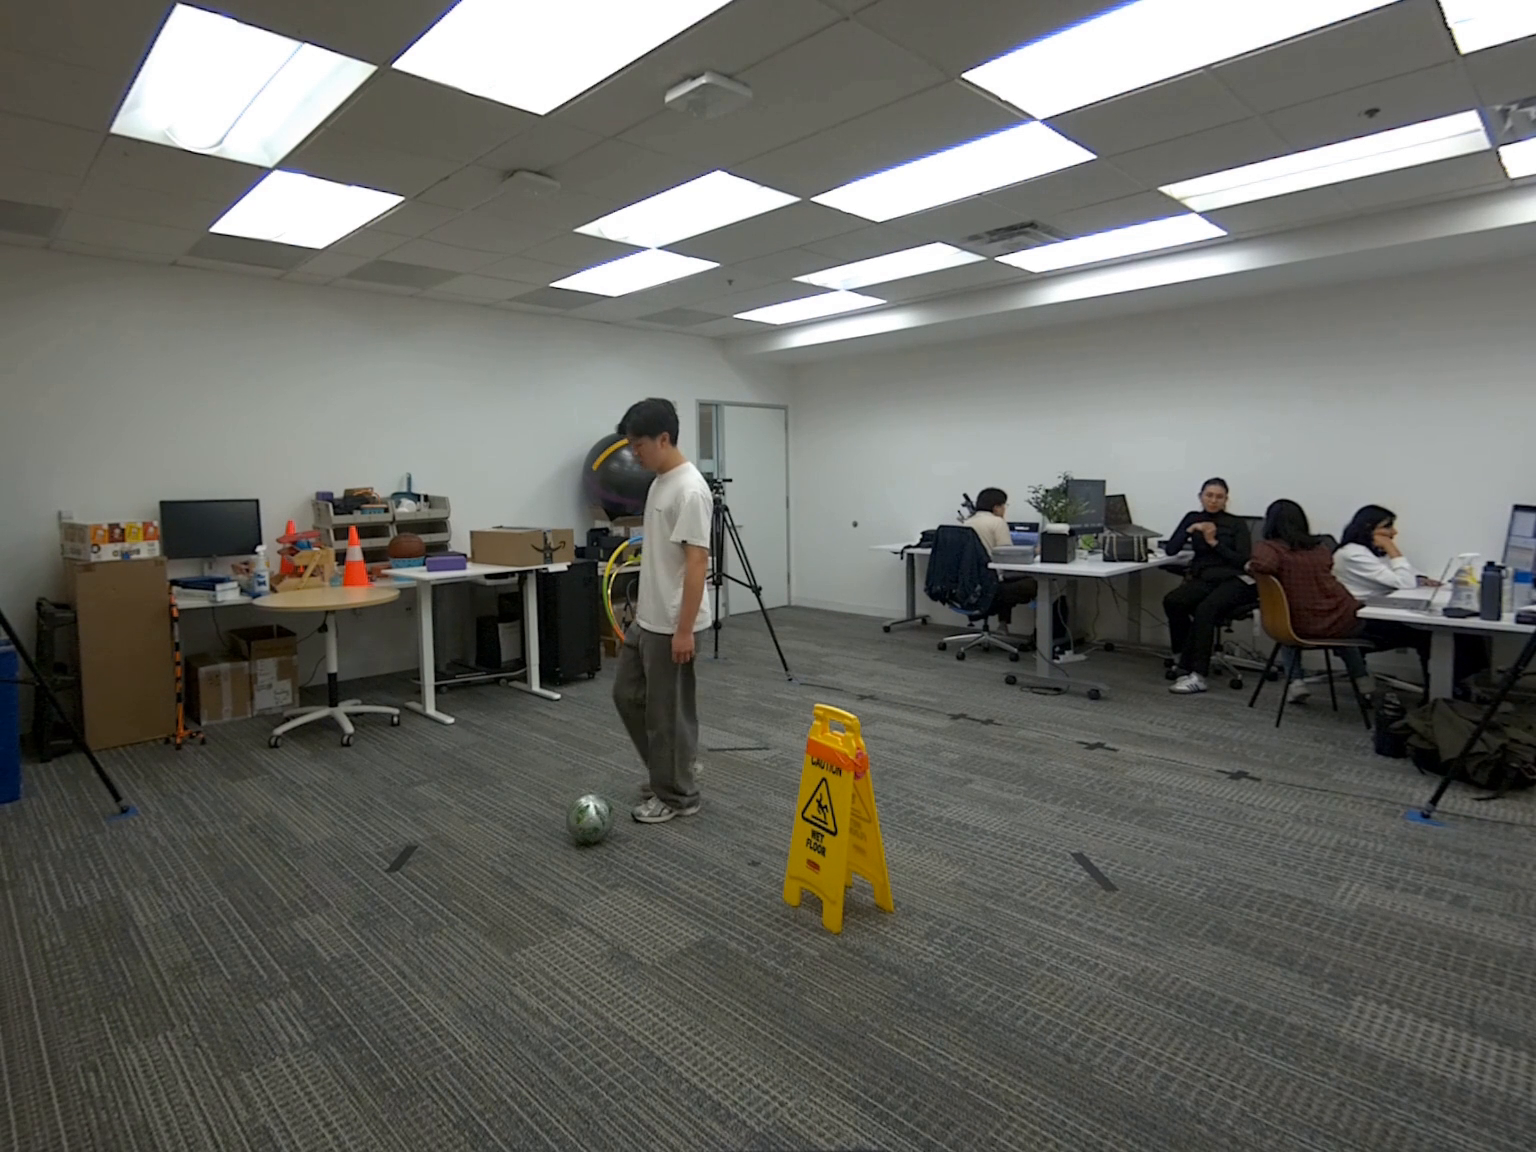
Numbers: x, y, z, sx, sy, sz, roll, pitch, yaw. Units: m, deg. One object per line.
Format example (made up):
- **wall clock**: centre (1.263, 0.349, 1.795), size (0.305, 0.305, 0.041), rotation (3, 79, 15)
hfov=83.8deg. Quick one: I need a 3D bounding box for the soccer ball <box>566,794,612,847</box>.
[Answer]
- **soccer ball**: centre (-0.685, 0.944, 3.312), size (0.187, 0.187, 0.188), rotation (-1, 5, -2)
